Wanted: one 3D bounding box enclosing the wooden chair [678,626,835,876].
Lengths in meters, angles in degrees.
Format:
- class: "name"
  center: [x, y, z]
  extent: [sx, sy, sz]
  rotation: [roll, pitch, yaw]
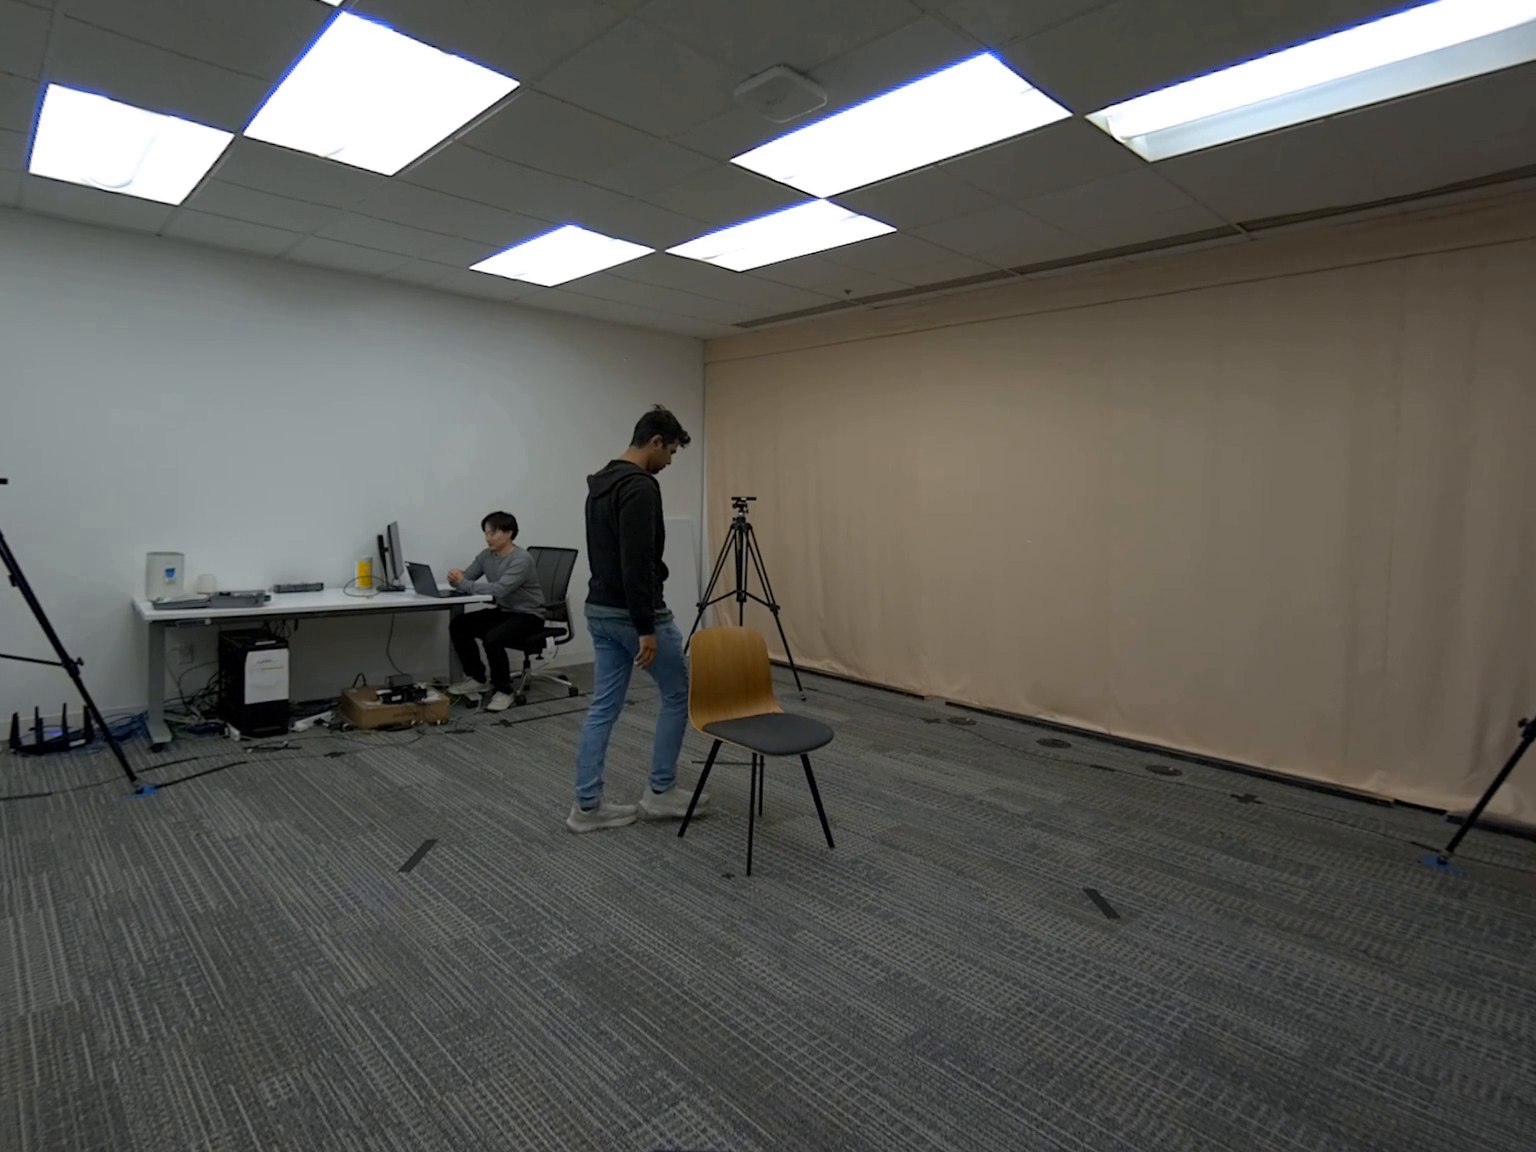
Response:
- class: "wooden chair"
  center: [-0.041, 0.661, 3.378]
  extent: [0.467, 0.878, 0.535]
  rotation: [0, -1, -40]
